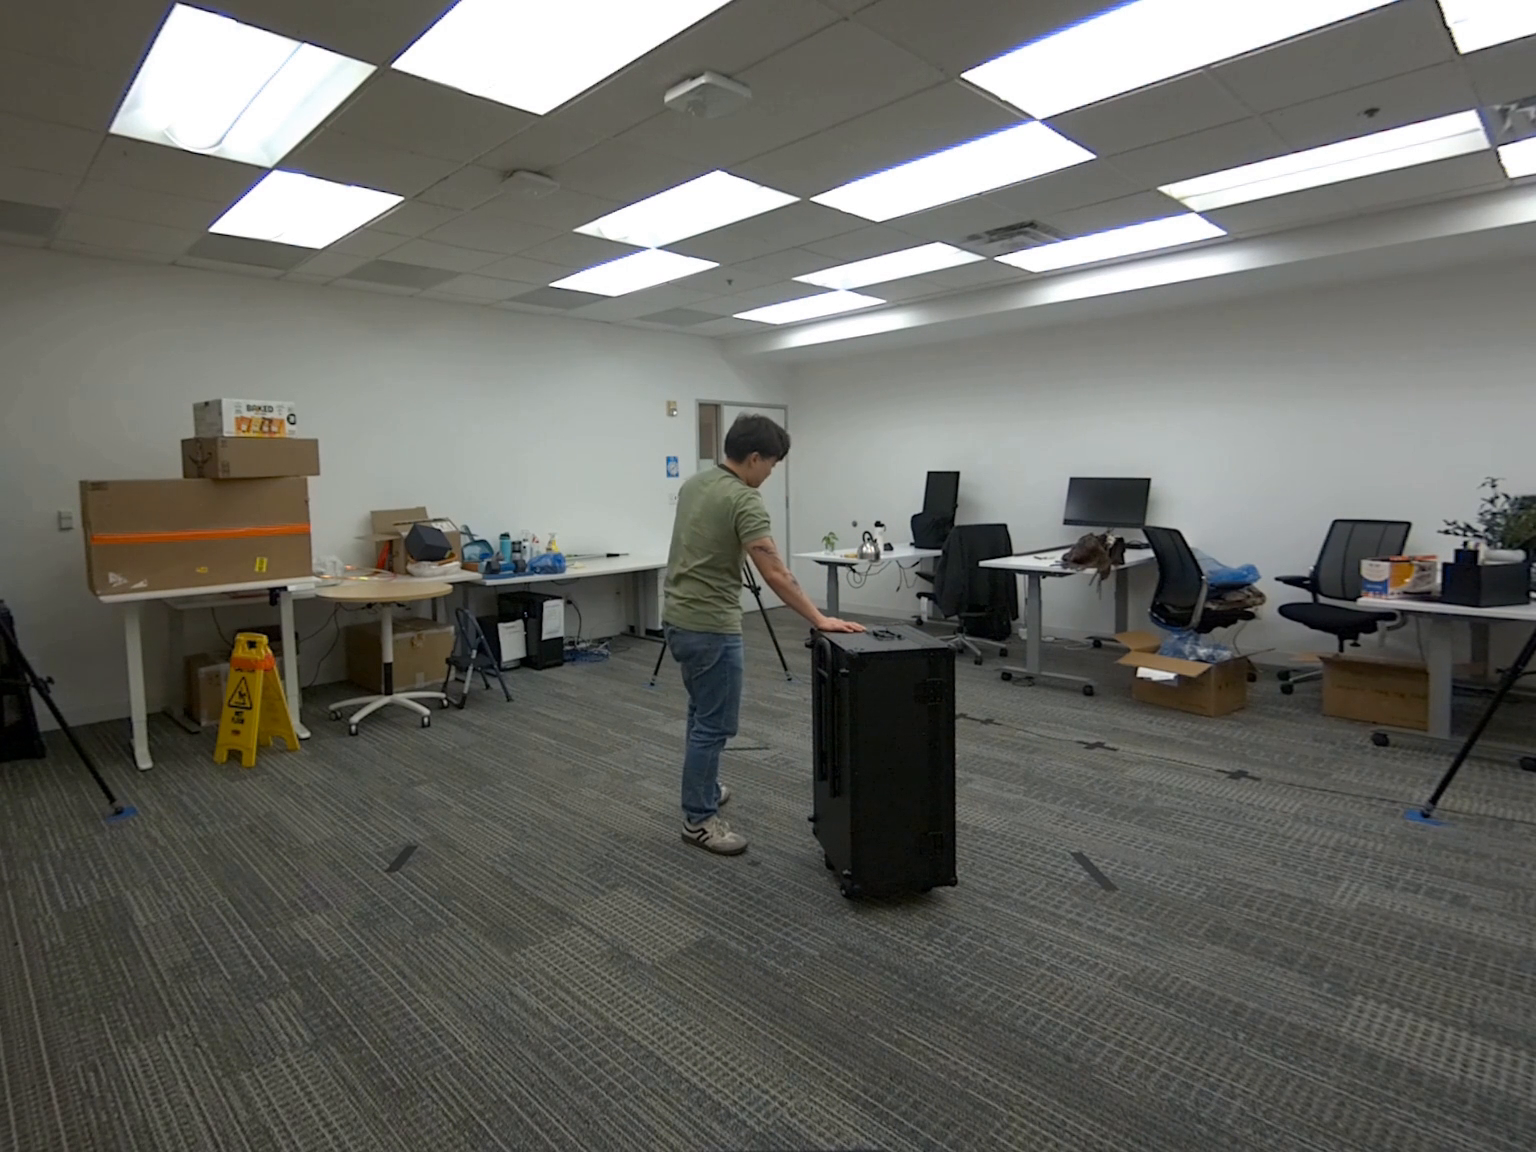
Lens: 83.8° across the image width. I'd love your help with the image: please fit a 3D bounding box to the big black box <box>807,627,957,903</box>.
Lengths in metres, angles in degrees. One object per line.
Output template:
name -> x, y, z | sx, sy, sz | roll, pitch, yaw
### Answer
big black box -> 0.374, 0.576, 2.943 | 0.393, 0.858, 0.528 | -1, 4, -10
